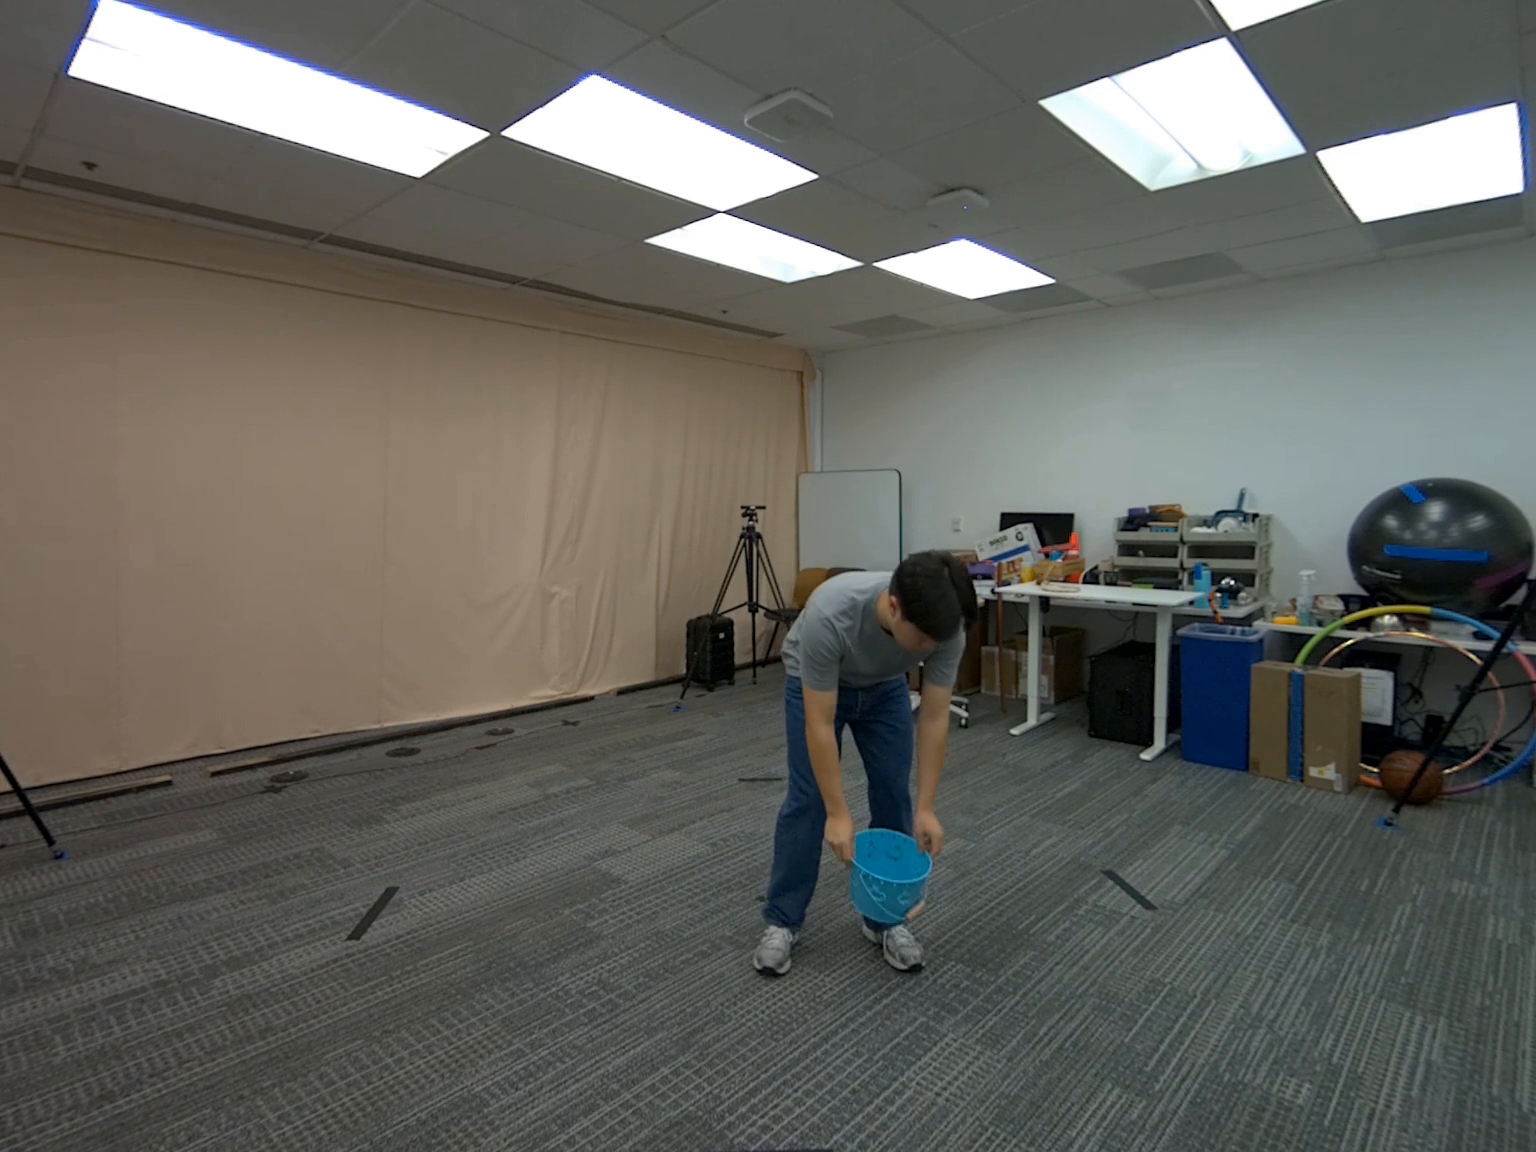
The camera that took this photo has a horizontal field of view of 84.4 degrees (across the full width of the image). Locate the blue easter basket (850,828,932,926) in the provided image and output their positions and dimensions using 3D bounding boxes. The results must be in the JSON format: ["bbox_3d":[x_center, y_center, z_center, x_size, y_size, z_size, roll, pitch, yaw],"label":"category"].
[{"bbox_3d":[0.328,0.840,2.339,0.243,0.155,0.246,2,14,-2],"label":"blue easter basket"}]
